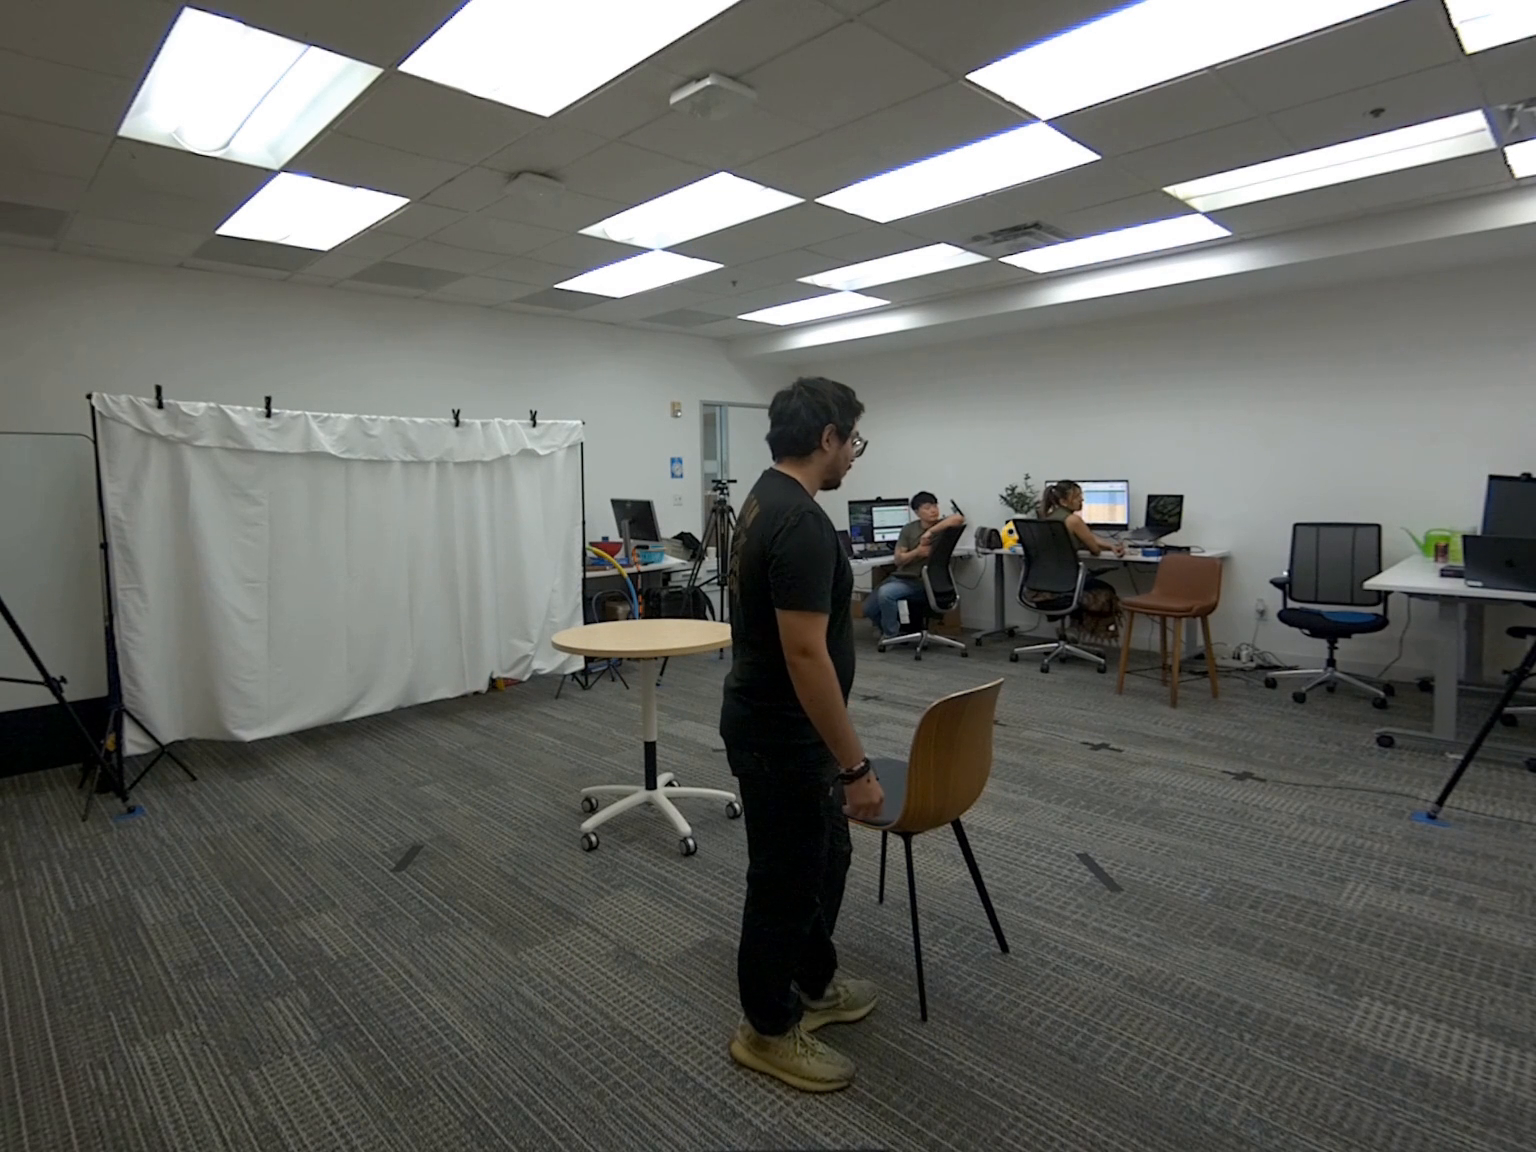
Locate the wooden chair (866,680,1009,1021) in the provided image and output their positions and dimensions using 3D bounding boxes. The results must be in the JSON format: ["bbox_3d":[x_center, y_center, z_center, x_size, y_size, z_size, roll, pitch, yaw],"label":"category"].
[{"bbox_3d":[0.379,0.684,2.481,0.540,0.871,0.466,9,11,43],"label":"wooden chair"}]
